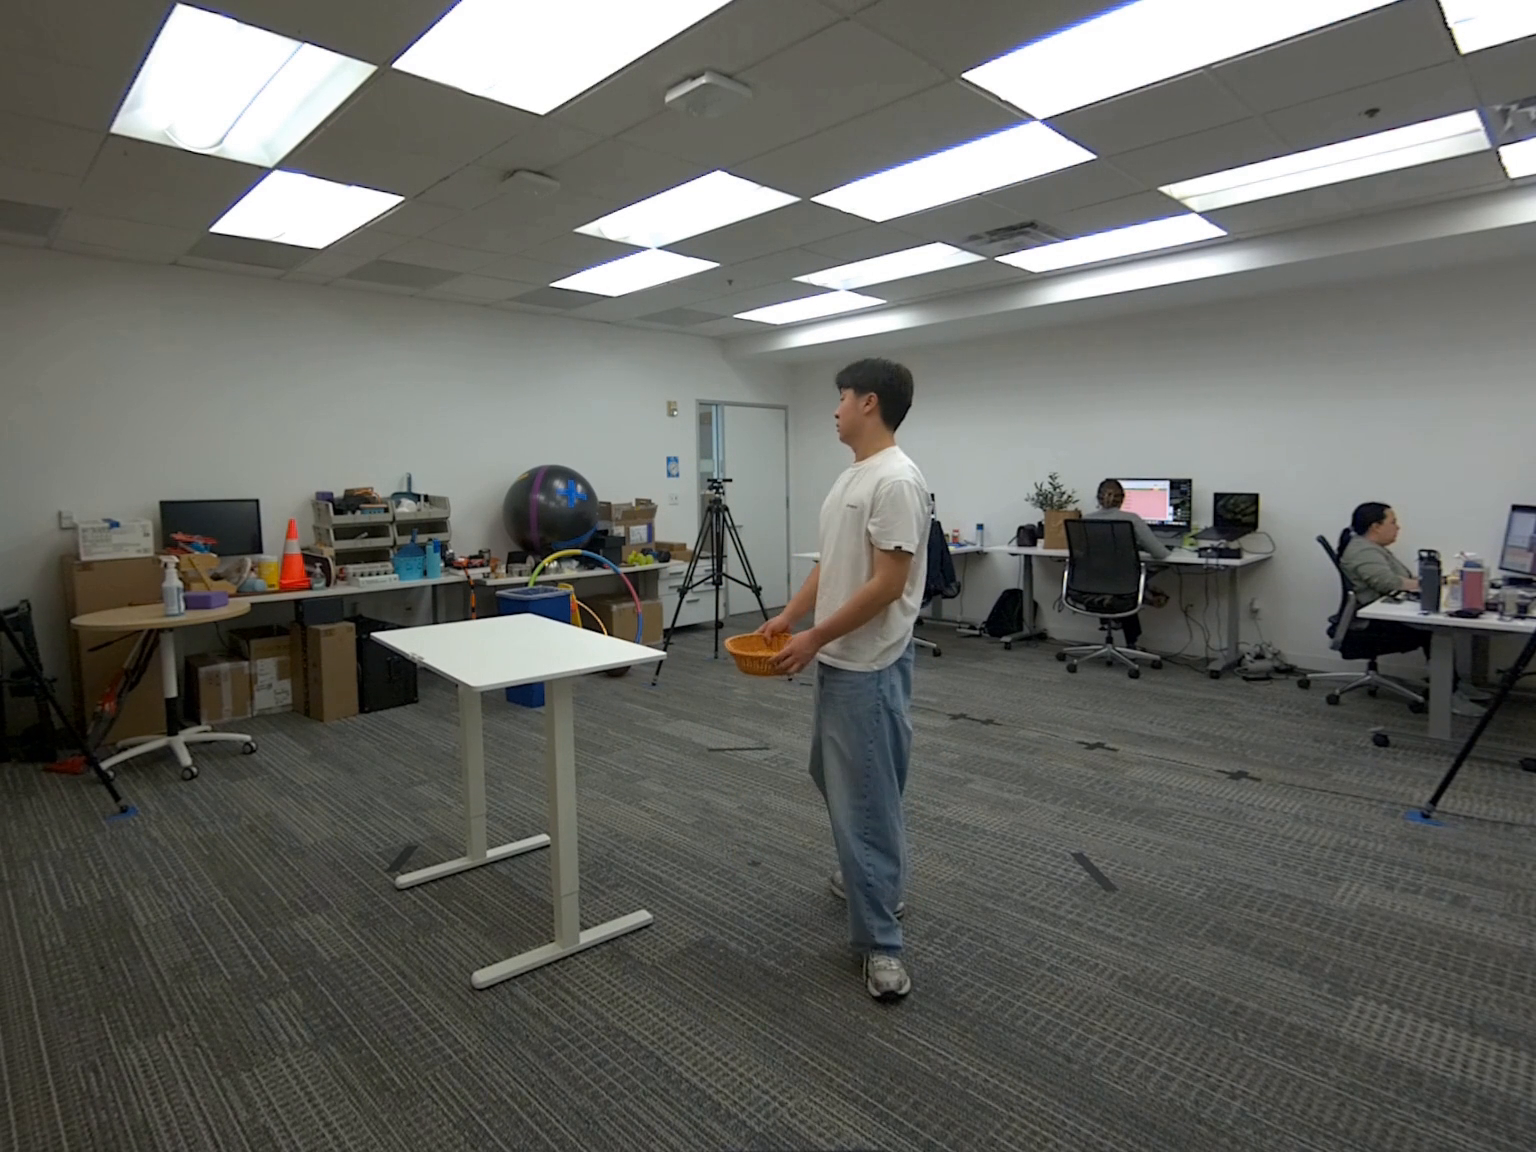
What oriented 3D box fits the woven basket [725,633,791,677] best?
[{"bbox_3d":[0.037,0.237,2.543,0.248,0.073,0.358,-4,6,-21],"label":"woven basket"}]
